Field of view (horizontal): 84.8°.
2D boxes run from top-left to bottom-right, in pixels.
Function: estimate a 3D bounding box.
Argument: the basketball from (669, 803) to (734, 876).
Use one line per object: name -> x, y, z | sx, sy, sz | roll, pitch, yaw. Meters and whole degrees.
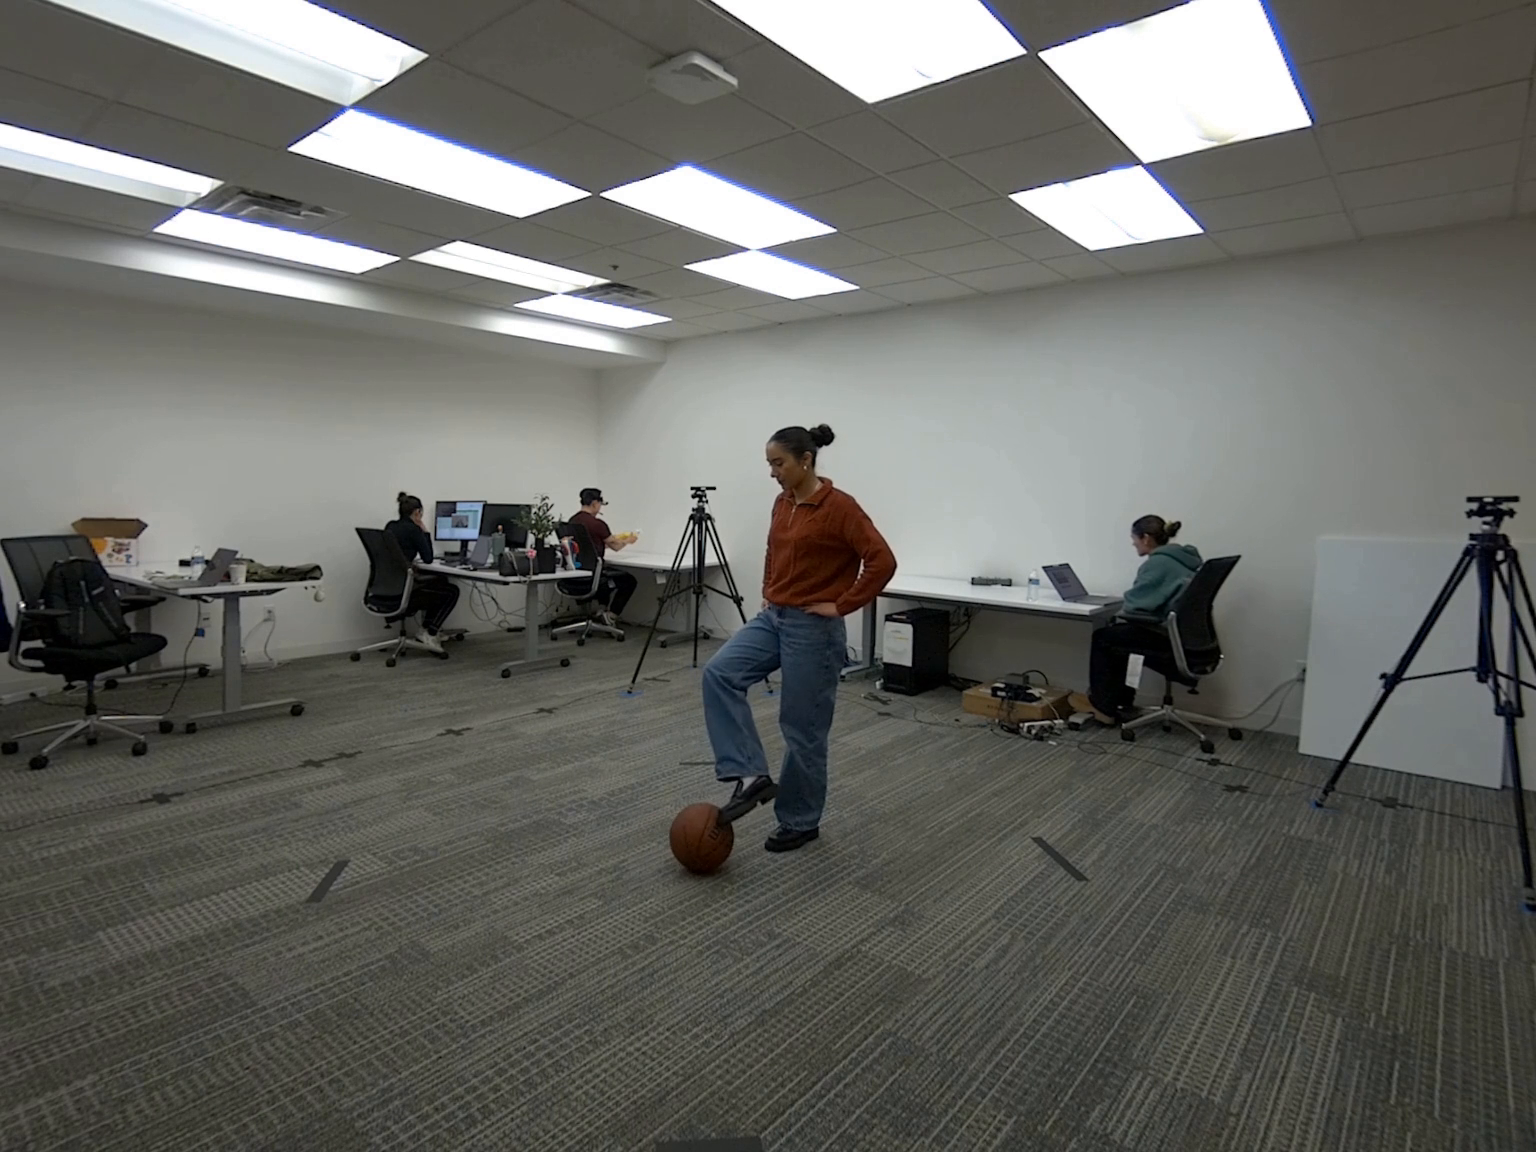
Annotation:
basketball -> -0.254, 0.947, 3.100 | 0.235, 0.235, 0.237 | 1, 4, -2
